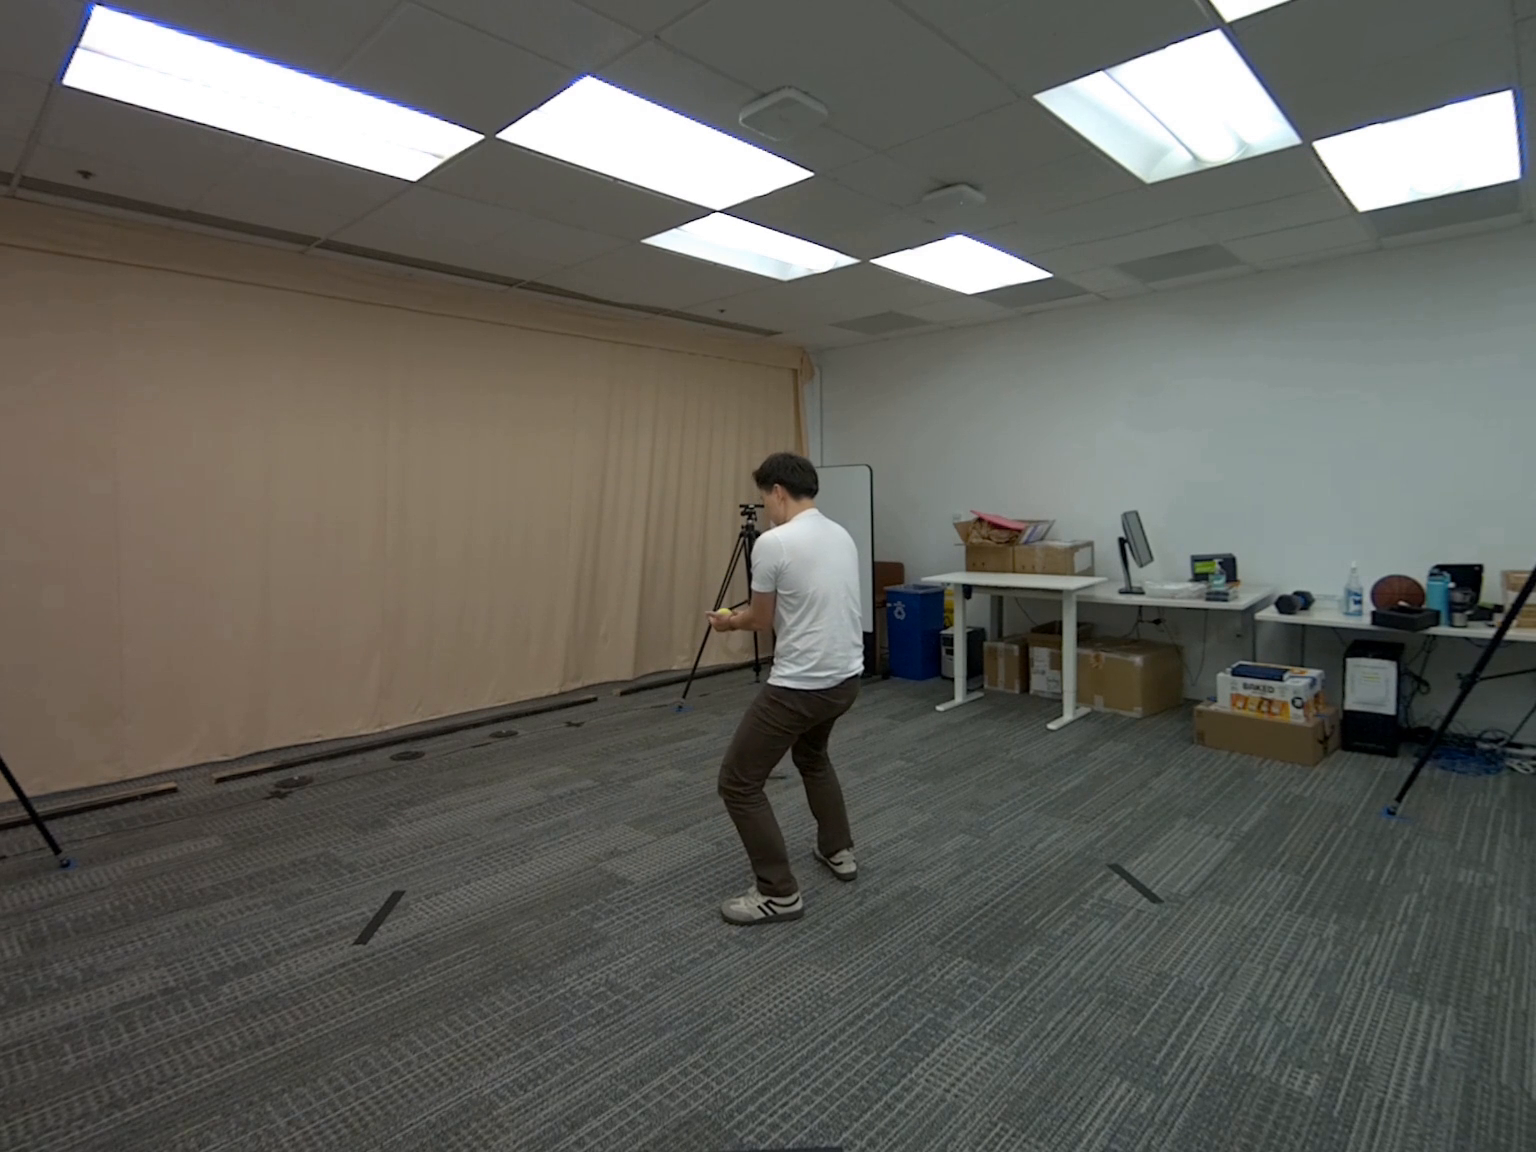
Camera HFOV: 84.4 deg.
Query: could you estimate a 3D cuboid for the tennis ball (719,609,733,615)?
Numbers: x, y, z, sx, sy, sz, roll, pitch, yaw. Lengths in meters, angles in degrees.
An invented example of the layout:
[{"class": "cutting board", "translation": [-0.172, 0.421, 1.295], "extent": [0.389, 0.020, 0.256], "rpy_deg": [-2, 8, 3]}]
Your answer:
[{"class": "tennis ball", "translation": [-0.164, 0.164, 3.222], "extent": [0.066, 0.066, 0.067], "rpy_deg": [-1, 4, -2]}]
